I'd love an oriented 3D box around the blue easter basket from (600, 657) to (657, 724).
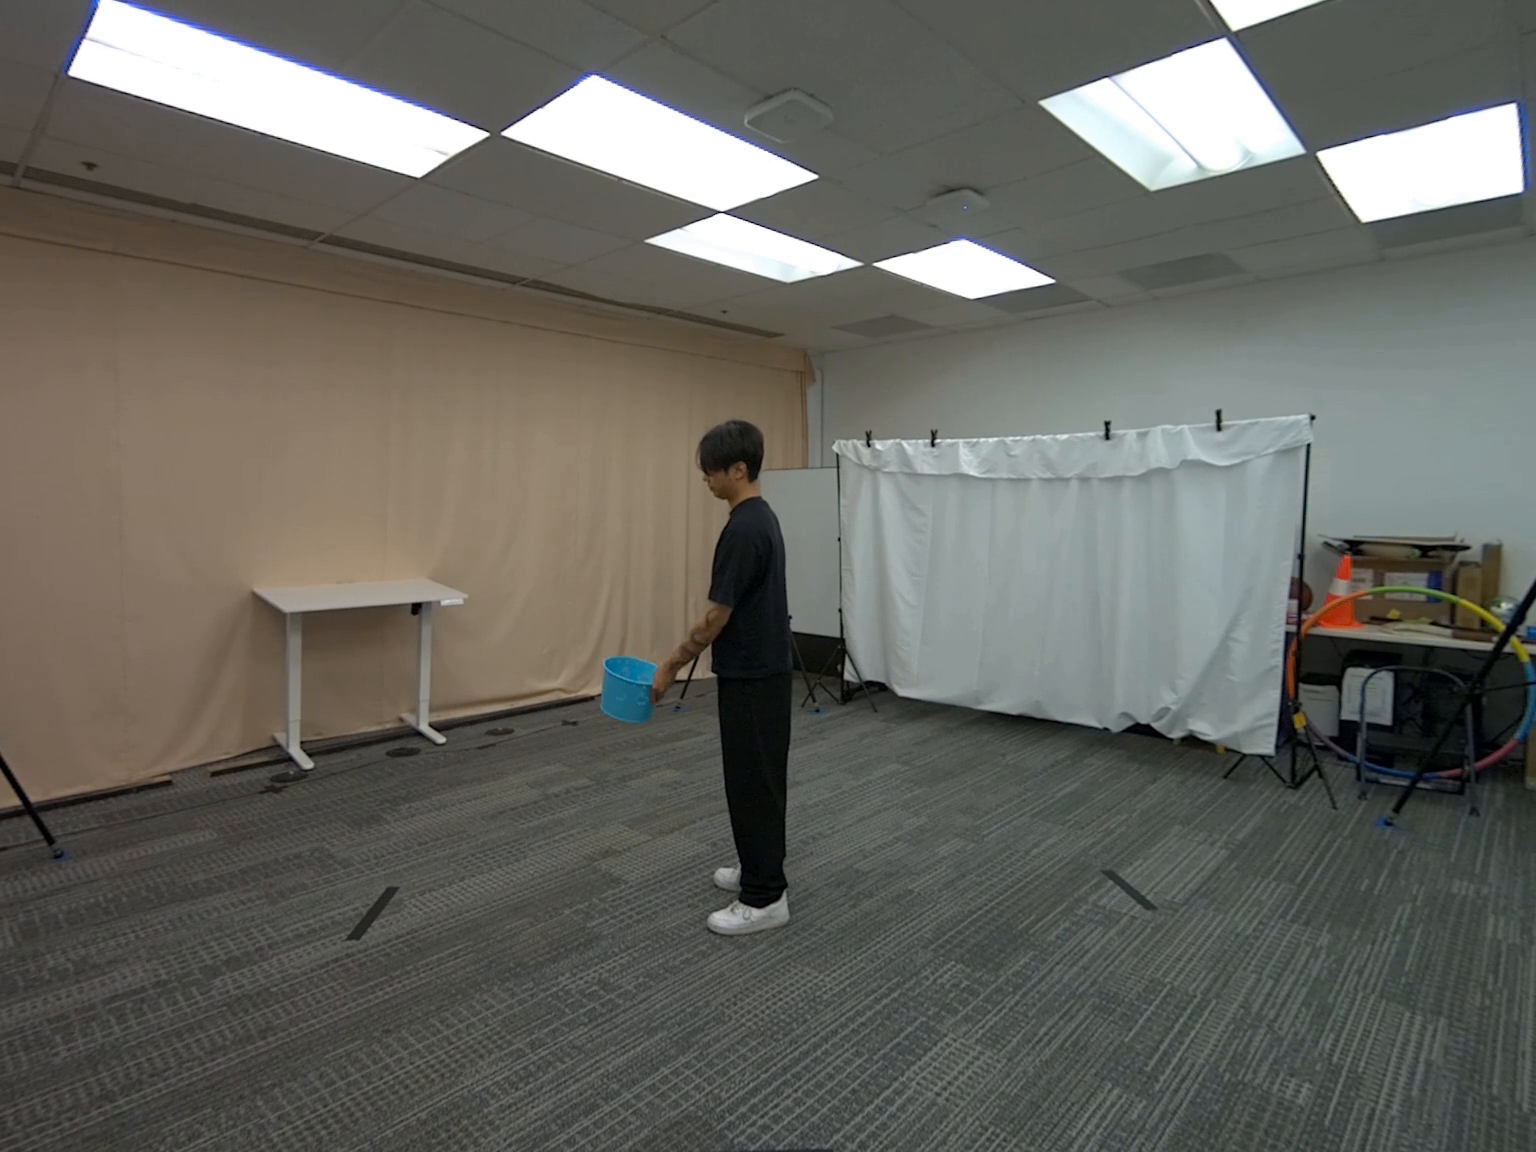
[{"bbox_3d":[-0.446,0.400,2.874,0.242,0.155,0.246,14,11,-5],"label":"blue easter basket"}]
